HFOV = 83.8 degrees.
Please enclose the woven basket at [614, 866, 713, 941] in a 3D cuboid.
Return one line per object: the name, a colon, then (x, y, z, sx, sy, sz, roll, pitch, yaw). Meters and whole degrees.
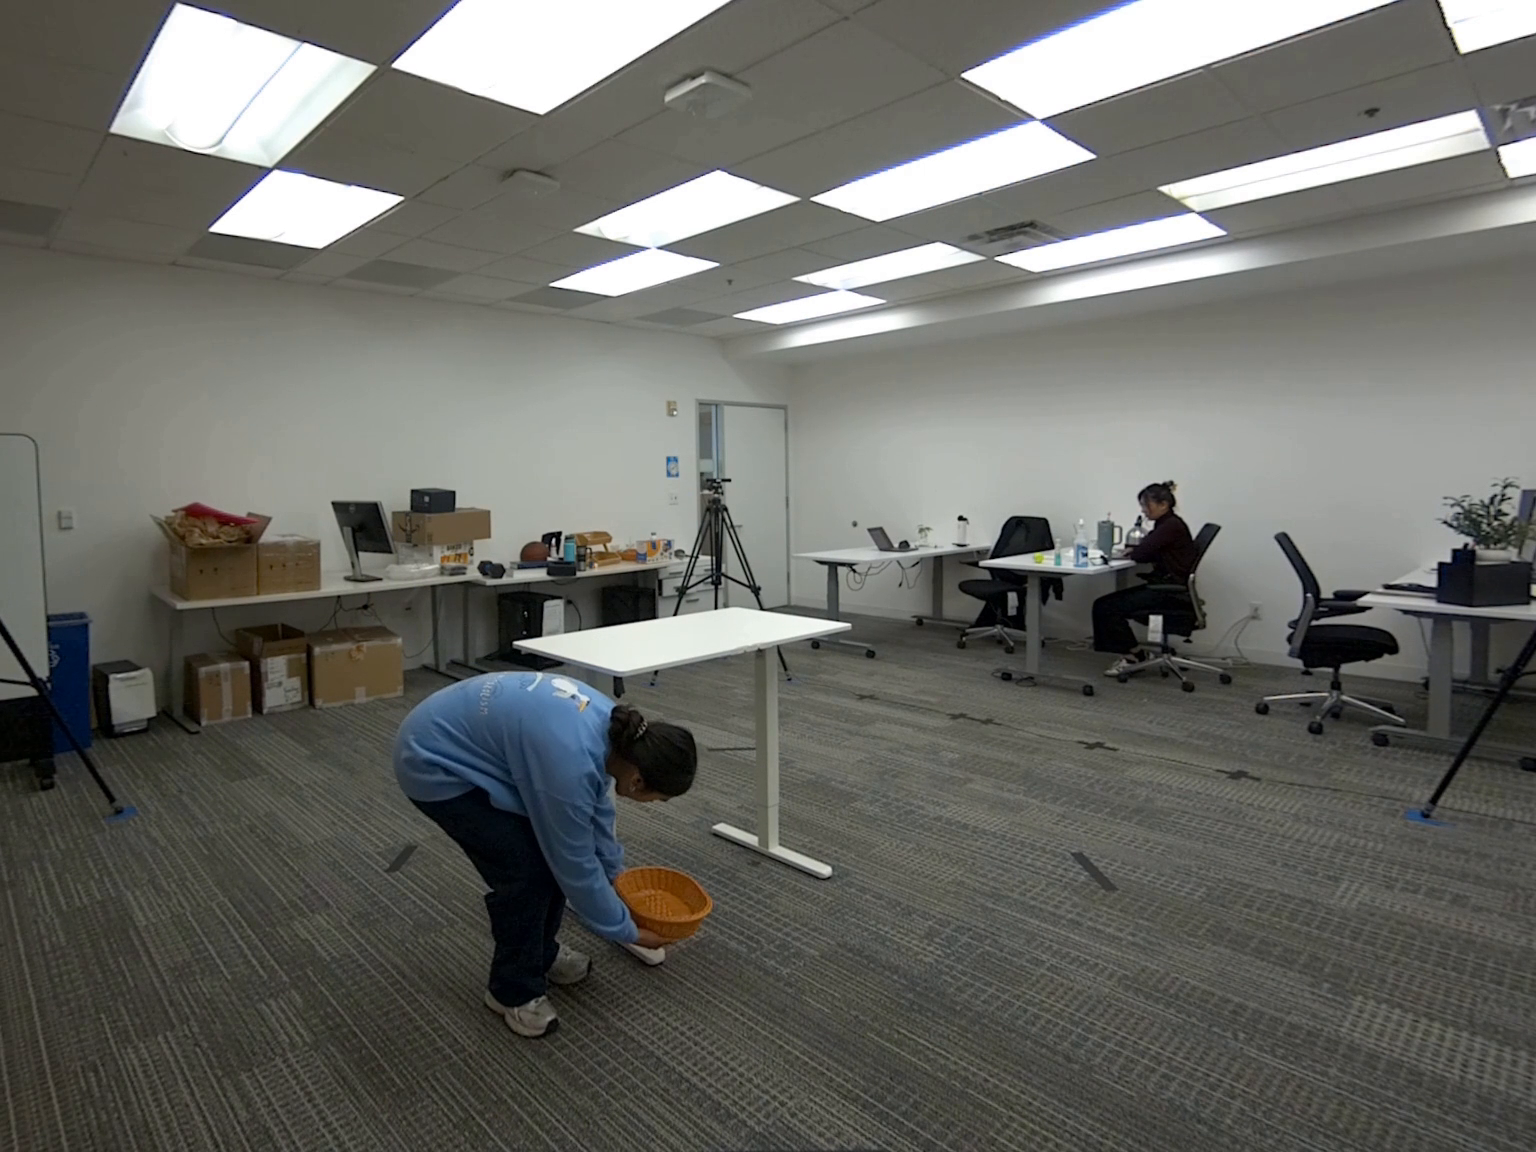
woven basket: (-0.301, 0.933, 2.414, 0.247, 0.073, 0.358, 3, 4, -20)
